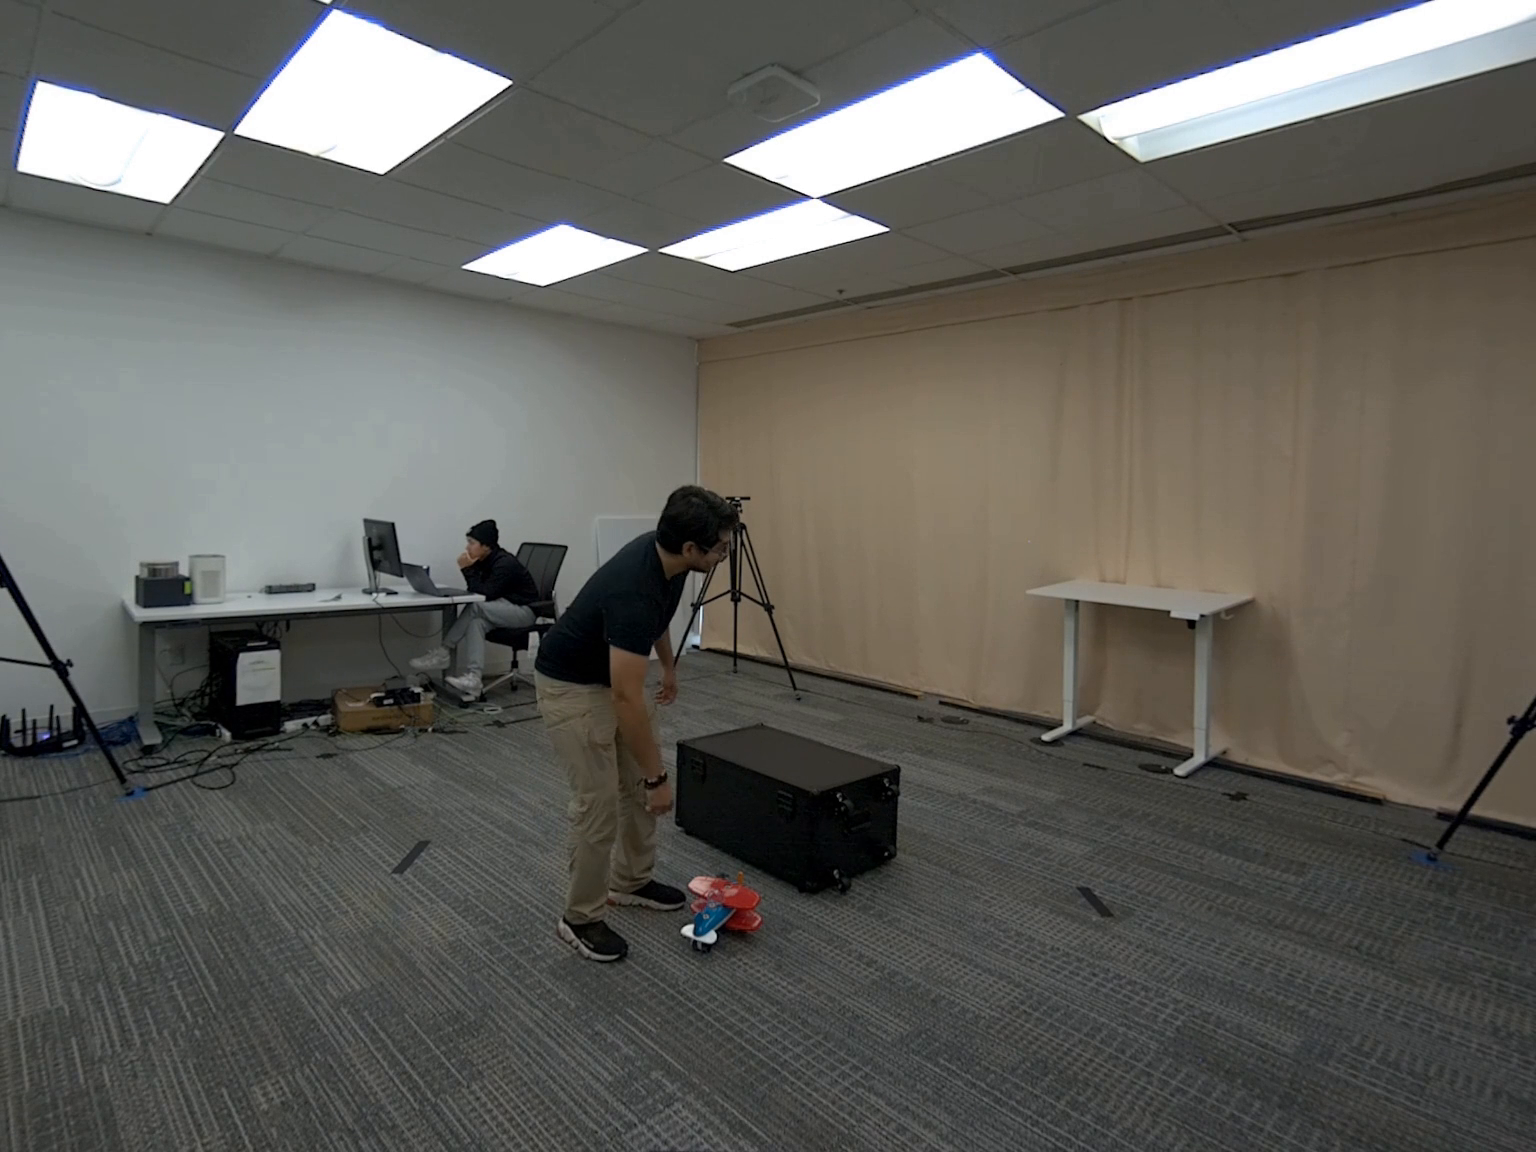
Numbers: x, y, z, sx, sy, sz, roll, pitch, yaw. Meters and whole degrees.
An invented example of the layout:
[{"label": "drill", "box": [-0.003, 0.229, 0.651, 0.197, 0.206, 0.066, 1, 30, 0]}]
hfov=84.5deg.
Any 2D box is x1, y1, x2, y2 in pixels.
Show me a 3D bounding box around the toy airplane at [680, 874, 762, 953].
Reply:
[{"label": "toy airplane", "box": [-0.146, 1.079, 2.653, 0.251, 0.156, 0.259, 1, 3, 2]}]
